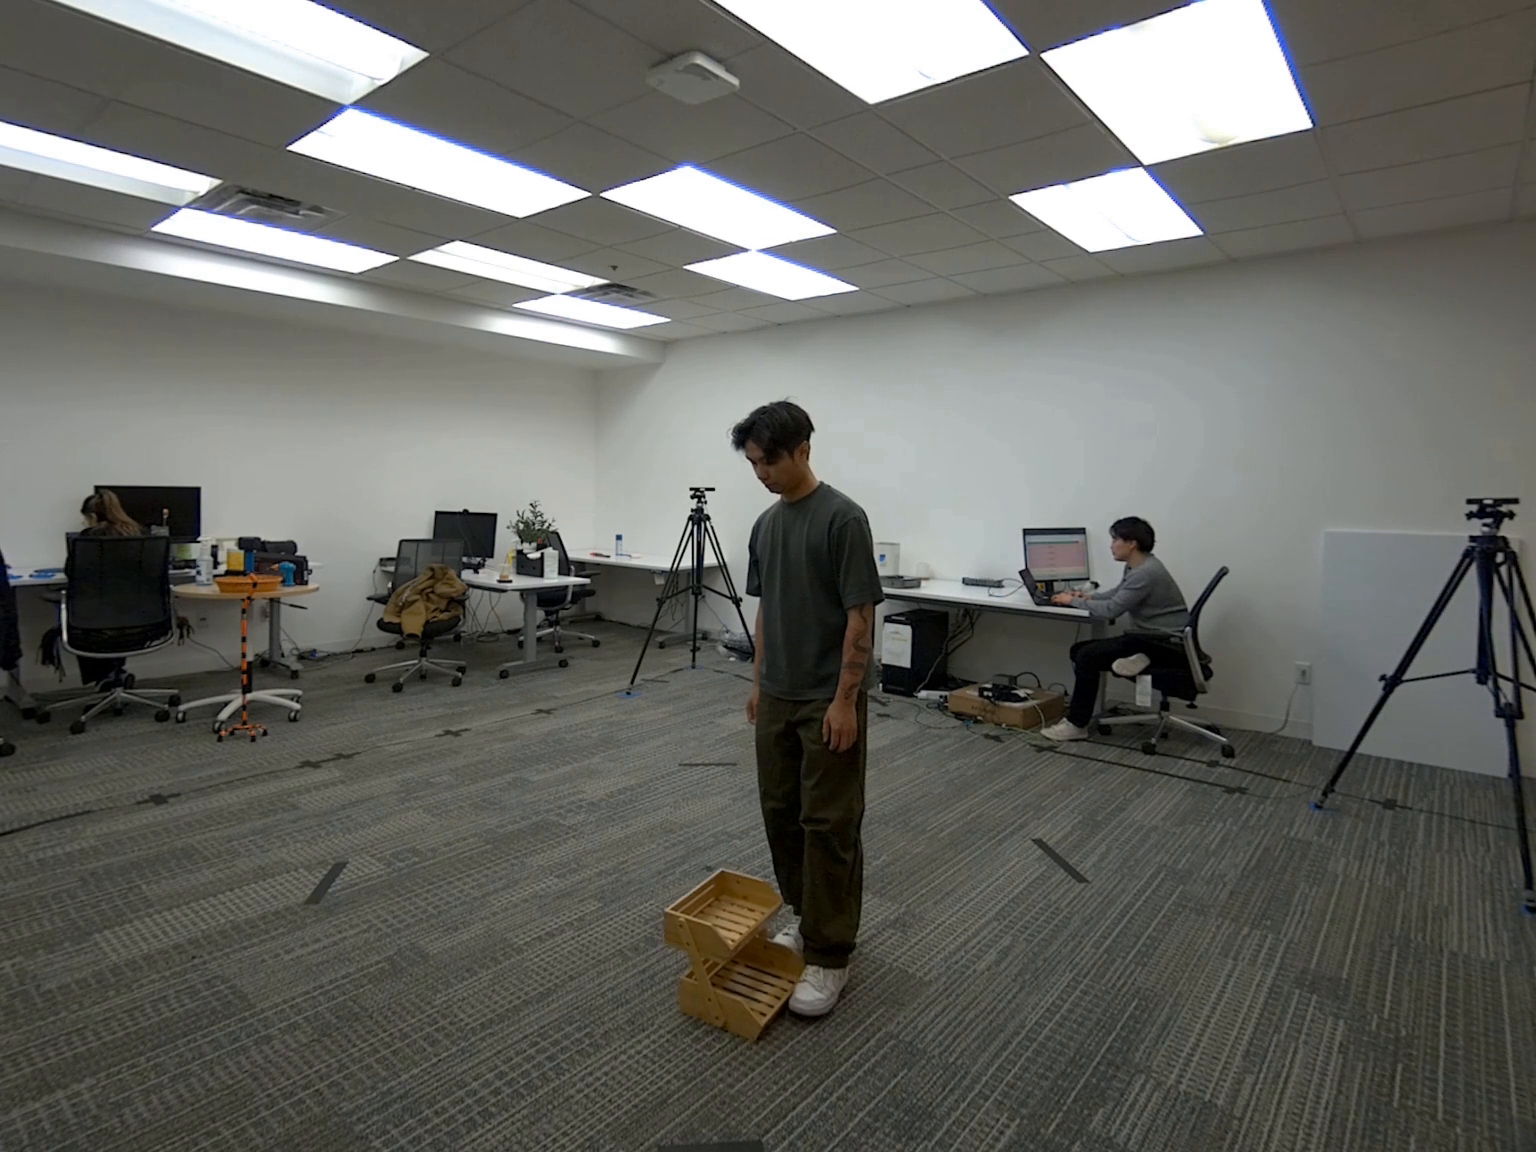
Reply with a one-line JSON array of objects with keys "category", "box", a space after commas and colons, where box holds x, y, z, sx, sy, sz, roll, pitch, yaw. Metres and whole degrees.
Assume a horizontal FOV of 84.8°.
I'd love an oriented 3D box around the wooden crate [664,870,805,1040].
[{"category": "wooden crate", "box": [-0.081, 1.014, 2.327, 0.311, 0.272, 0.316, 3, 5, 29]}]
